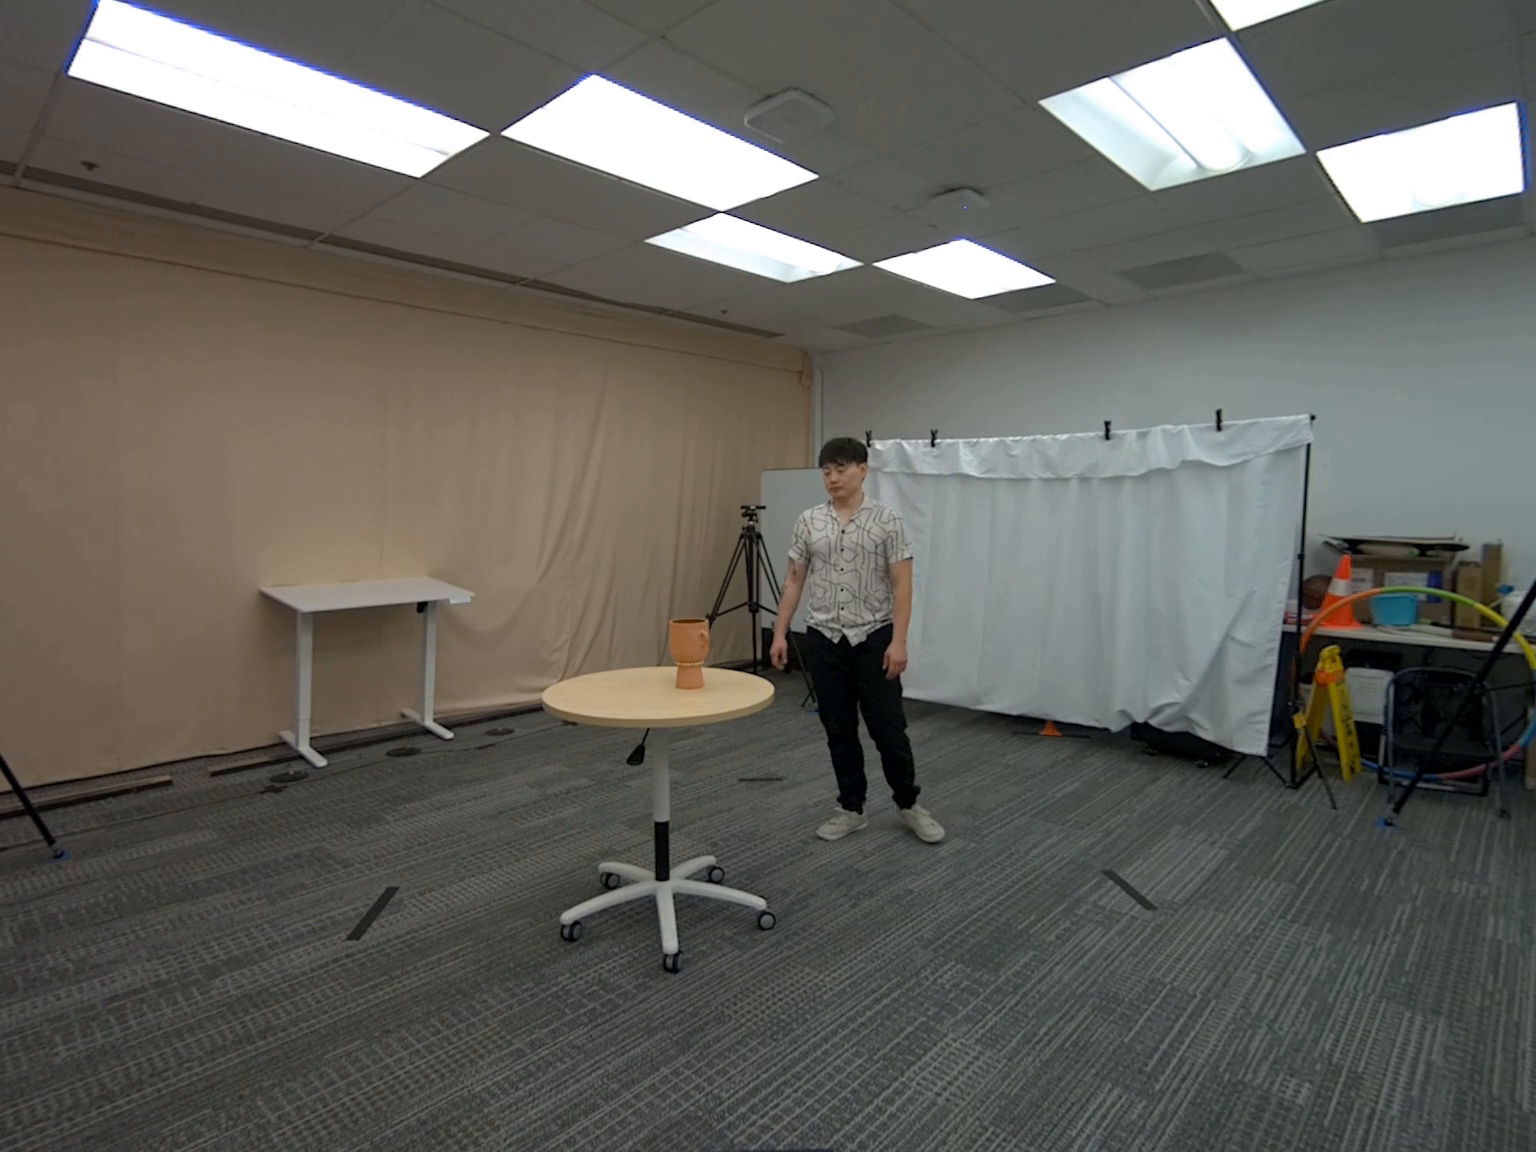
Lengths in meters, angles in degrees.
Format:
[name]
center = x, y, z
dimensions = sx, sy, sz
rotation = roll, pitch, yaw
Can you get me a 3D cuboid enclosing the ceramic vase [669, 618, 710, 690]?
[ceramic vase]
center = -0.261, 0.263, 2.835
dimensions = 0.134, 0.219, 0.160
rotation = 1, 5, -4
